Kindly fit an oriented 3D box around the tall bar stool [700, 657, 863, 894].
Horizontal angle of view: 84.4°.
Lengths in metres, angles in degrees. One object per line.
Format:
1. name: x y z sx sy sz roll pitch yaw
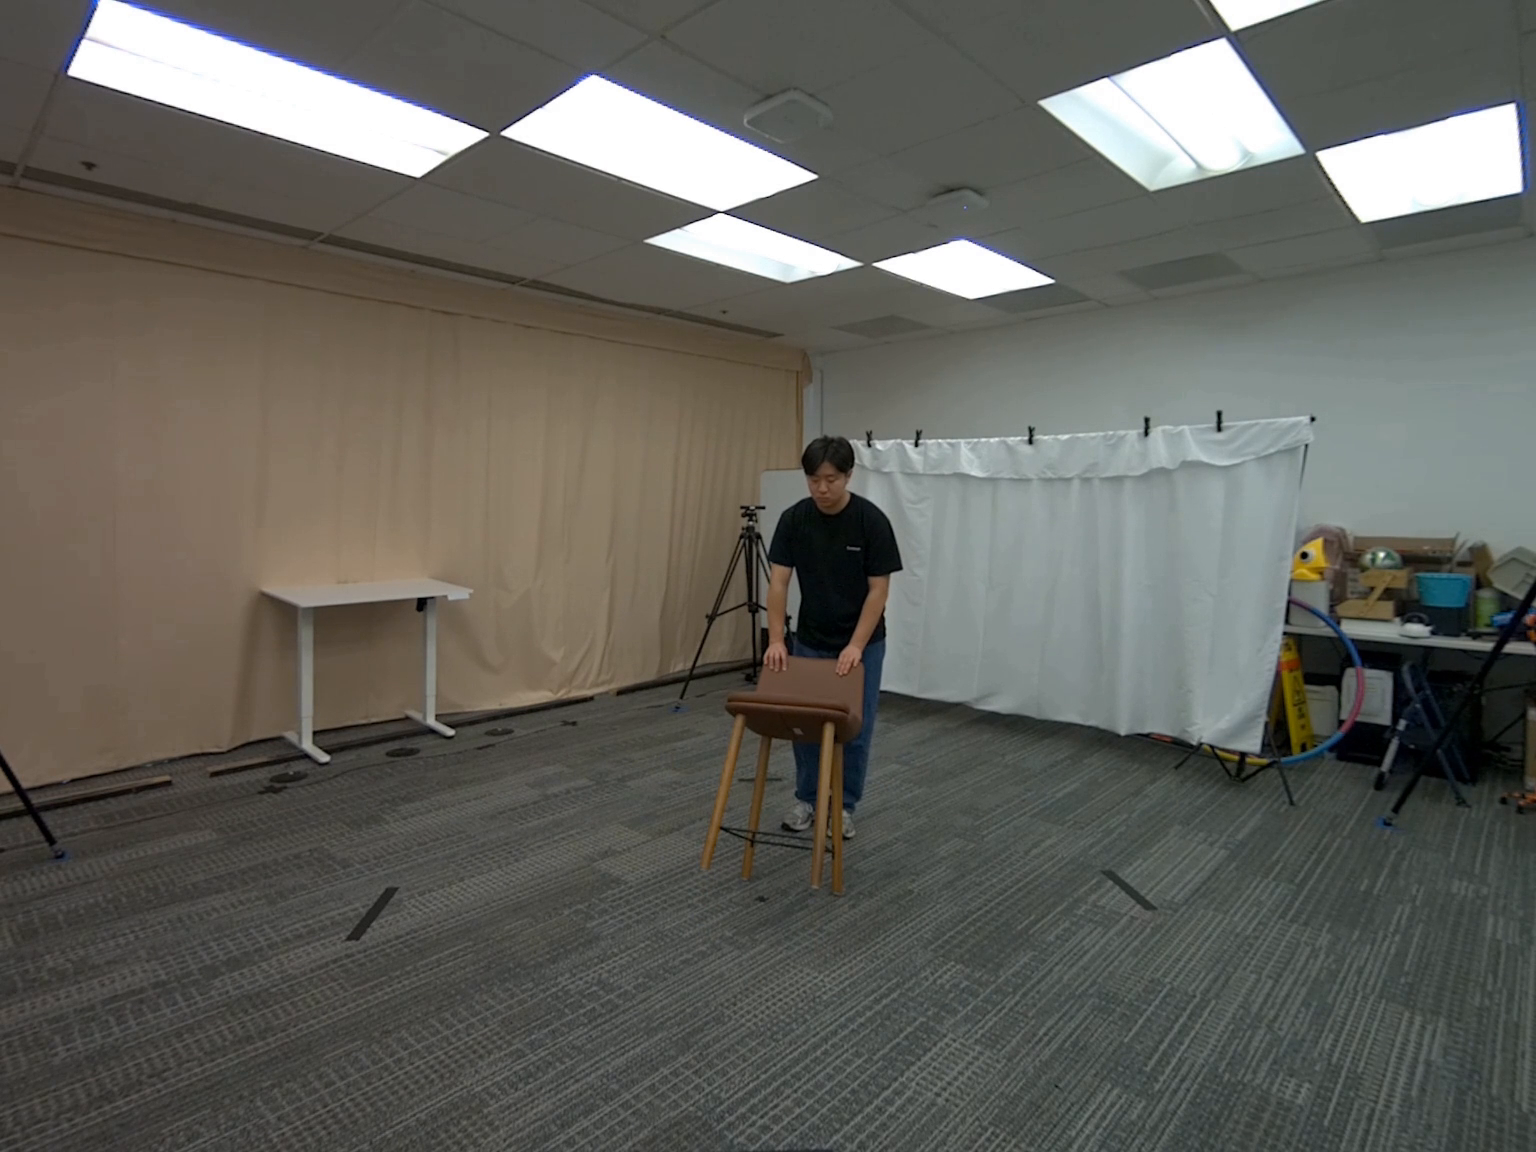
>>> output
1. tall bar stool: 0.086 0.656 3.060 0.466 0.898 0.453 0 -25 20
